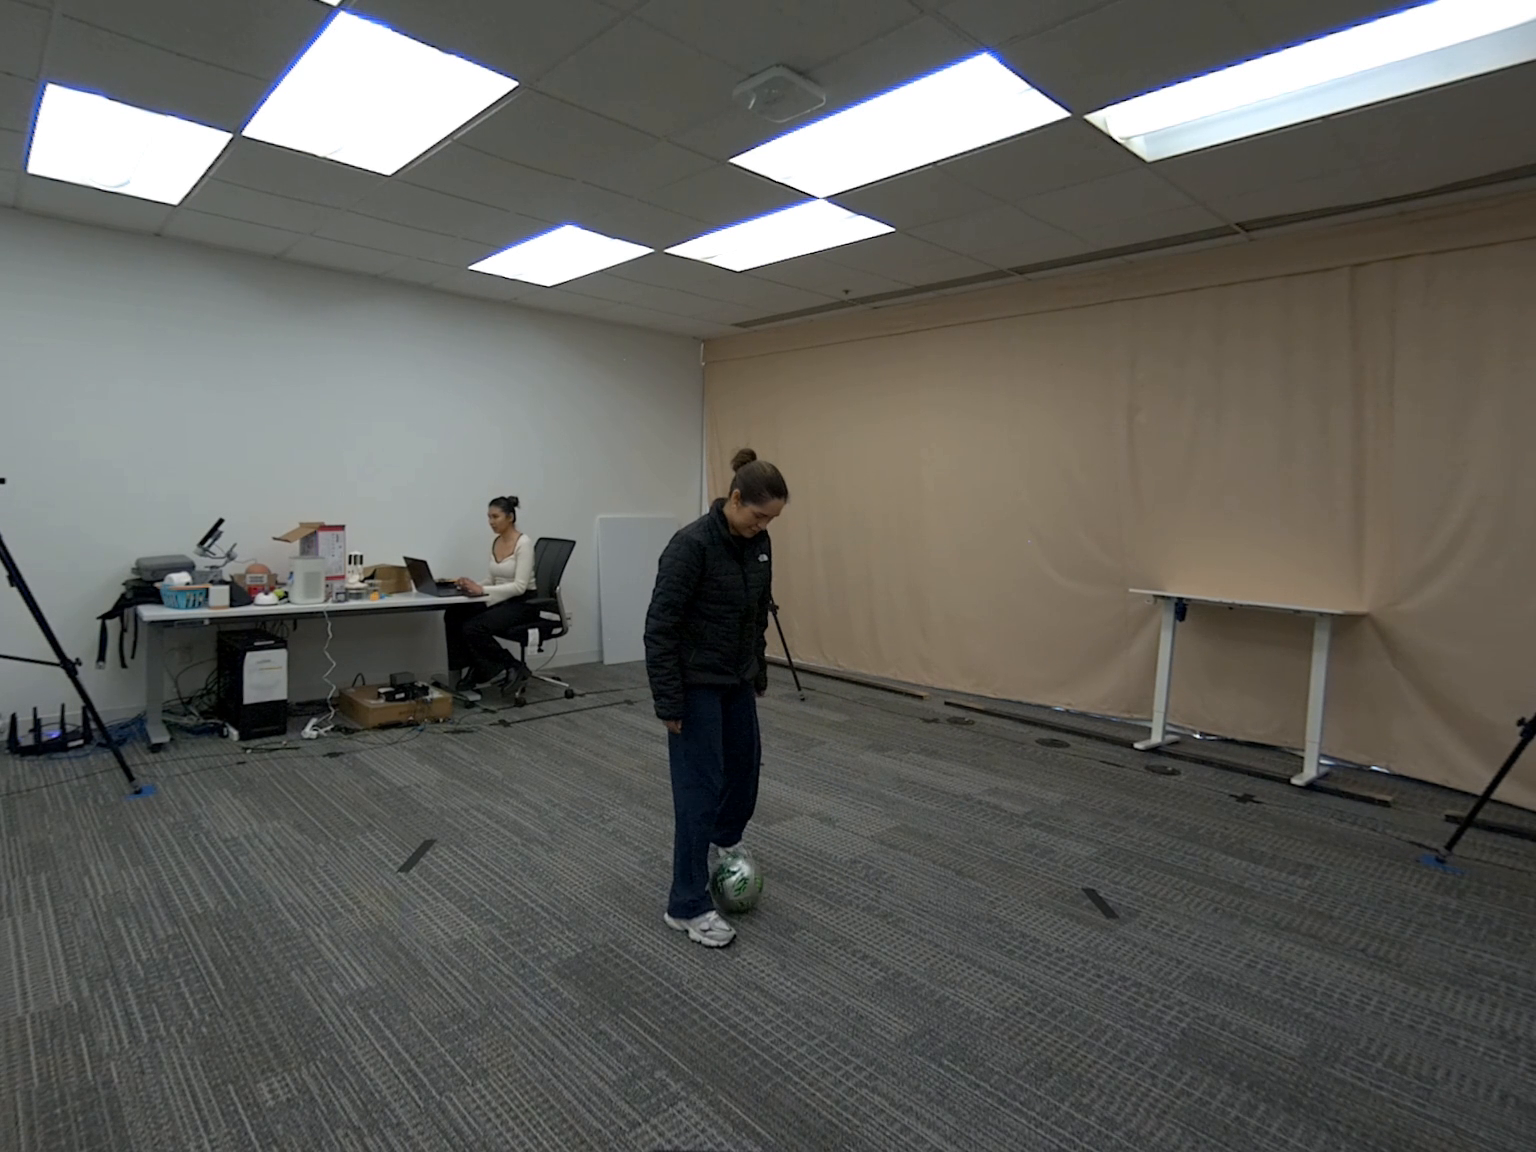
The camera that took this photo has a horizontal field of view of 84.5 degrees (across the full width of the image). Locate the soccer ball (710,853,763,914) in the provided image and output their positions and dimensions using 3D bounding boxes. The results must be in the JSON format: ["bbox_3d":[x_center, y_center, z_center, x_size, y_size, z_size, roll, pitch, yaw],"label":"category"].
[{"bbox_3d":[-0.115,1.041,2.848,0.187,0.187,0.188,1,4,-1],"label":"soccer ball"}]
